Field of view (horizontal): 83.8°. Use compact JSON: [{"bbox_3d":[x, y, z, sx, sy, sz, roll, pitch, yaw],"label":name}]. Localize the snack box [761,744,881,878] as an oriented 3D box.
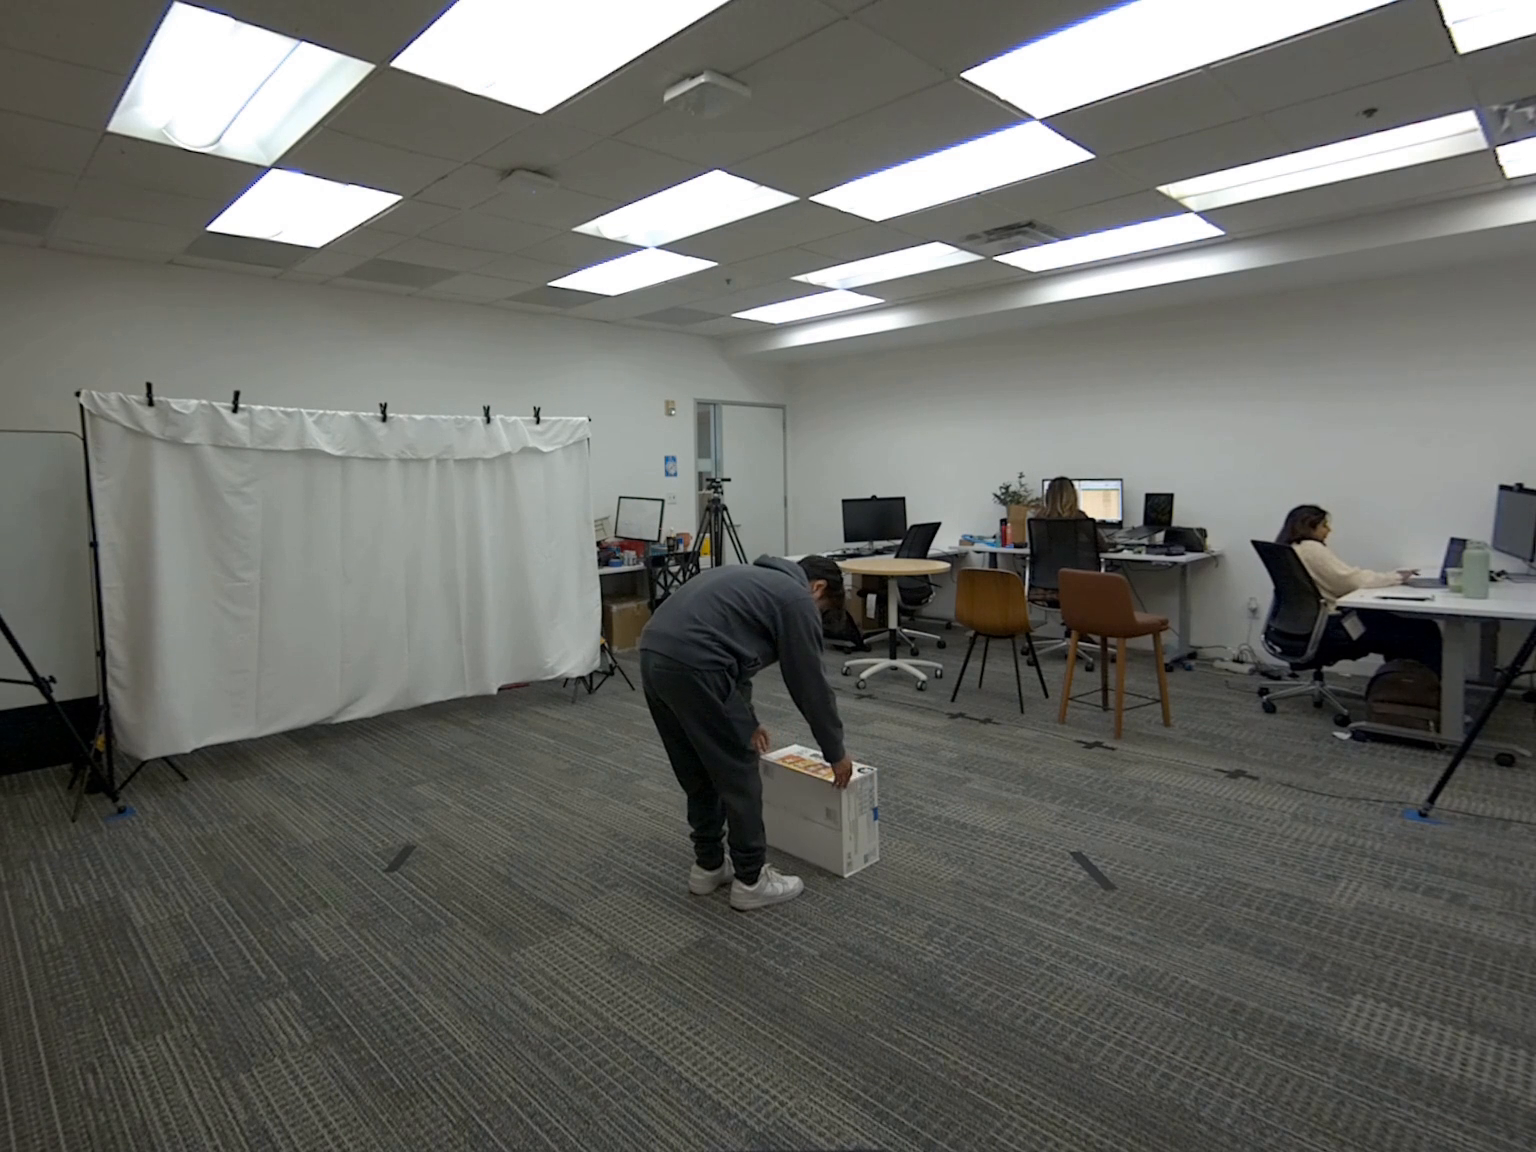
[{"bbox_3d":[0.192,0.863,3.179,0.200,0.339,0.418,-7,7,-43],"label":"snack box"}]
